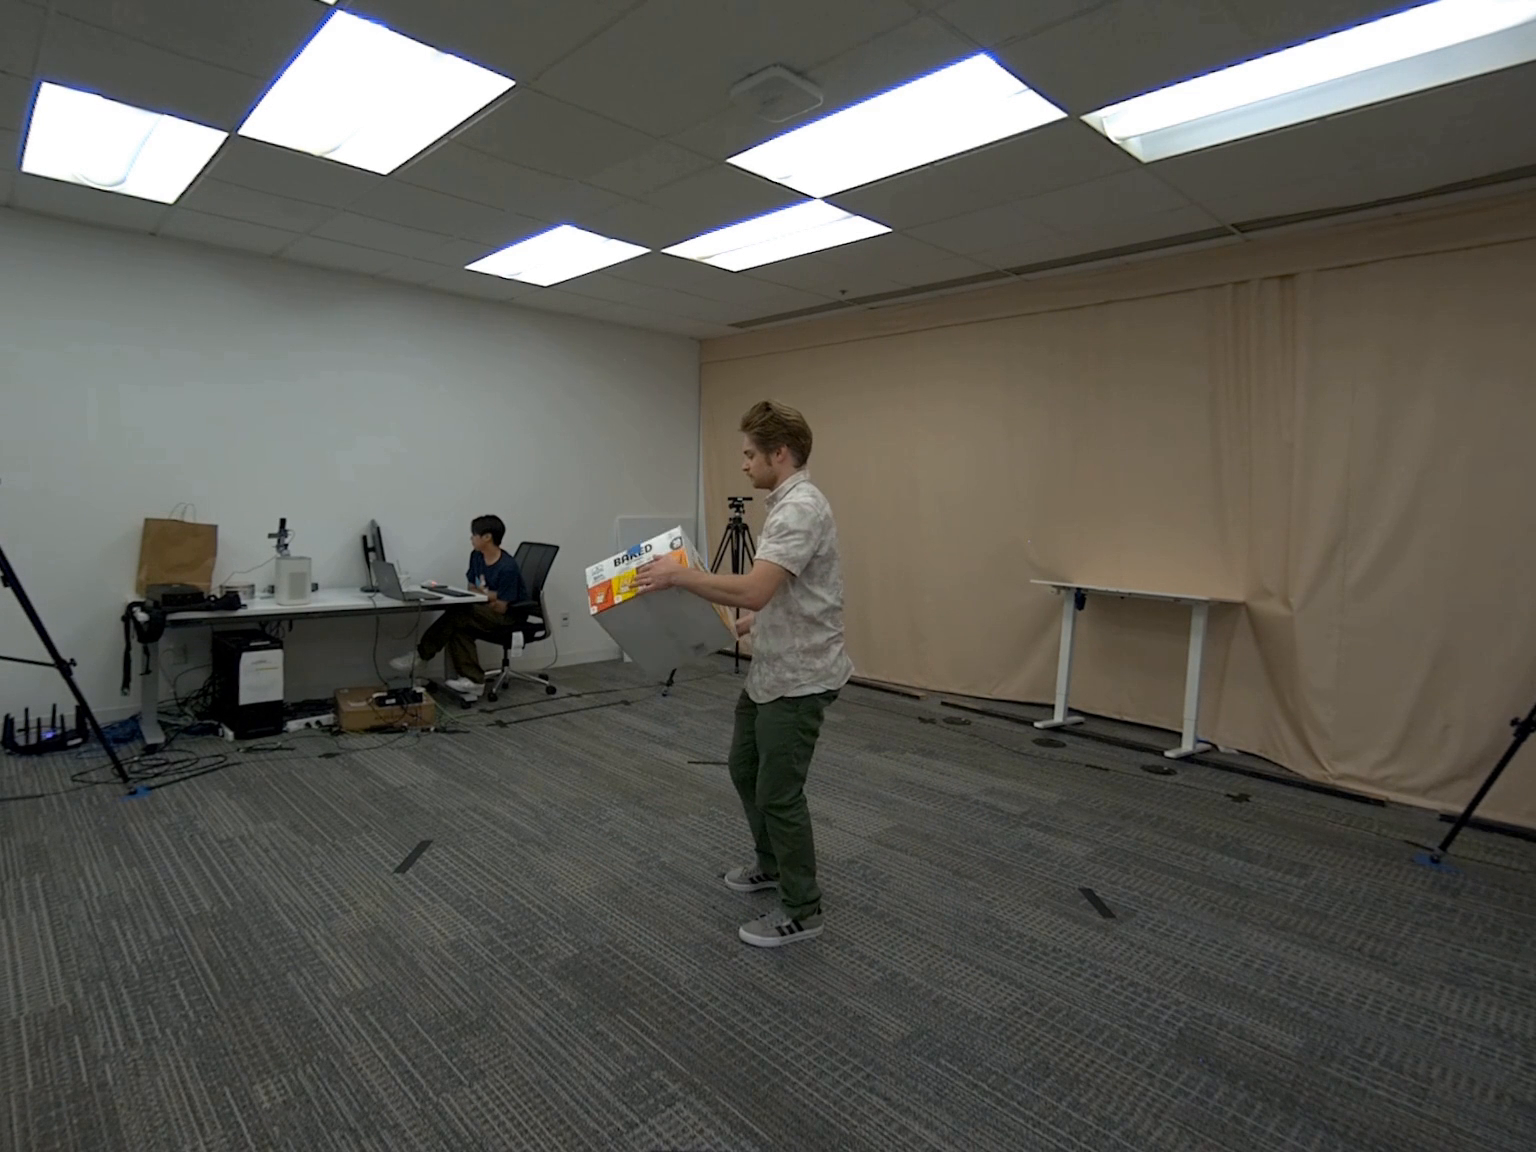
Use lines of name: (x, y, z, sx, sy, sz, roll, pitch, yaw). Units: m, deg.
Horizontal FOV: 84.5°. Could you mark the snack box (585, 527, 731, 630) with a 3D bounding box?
snack box: (-0.340, 0.102, 2.740, 0.341, 0.211, 0.392, -23, -43, 8)
